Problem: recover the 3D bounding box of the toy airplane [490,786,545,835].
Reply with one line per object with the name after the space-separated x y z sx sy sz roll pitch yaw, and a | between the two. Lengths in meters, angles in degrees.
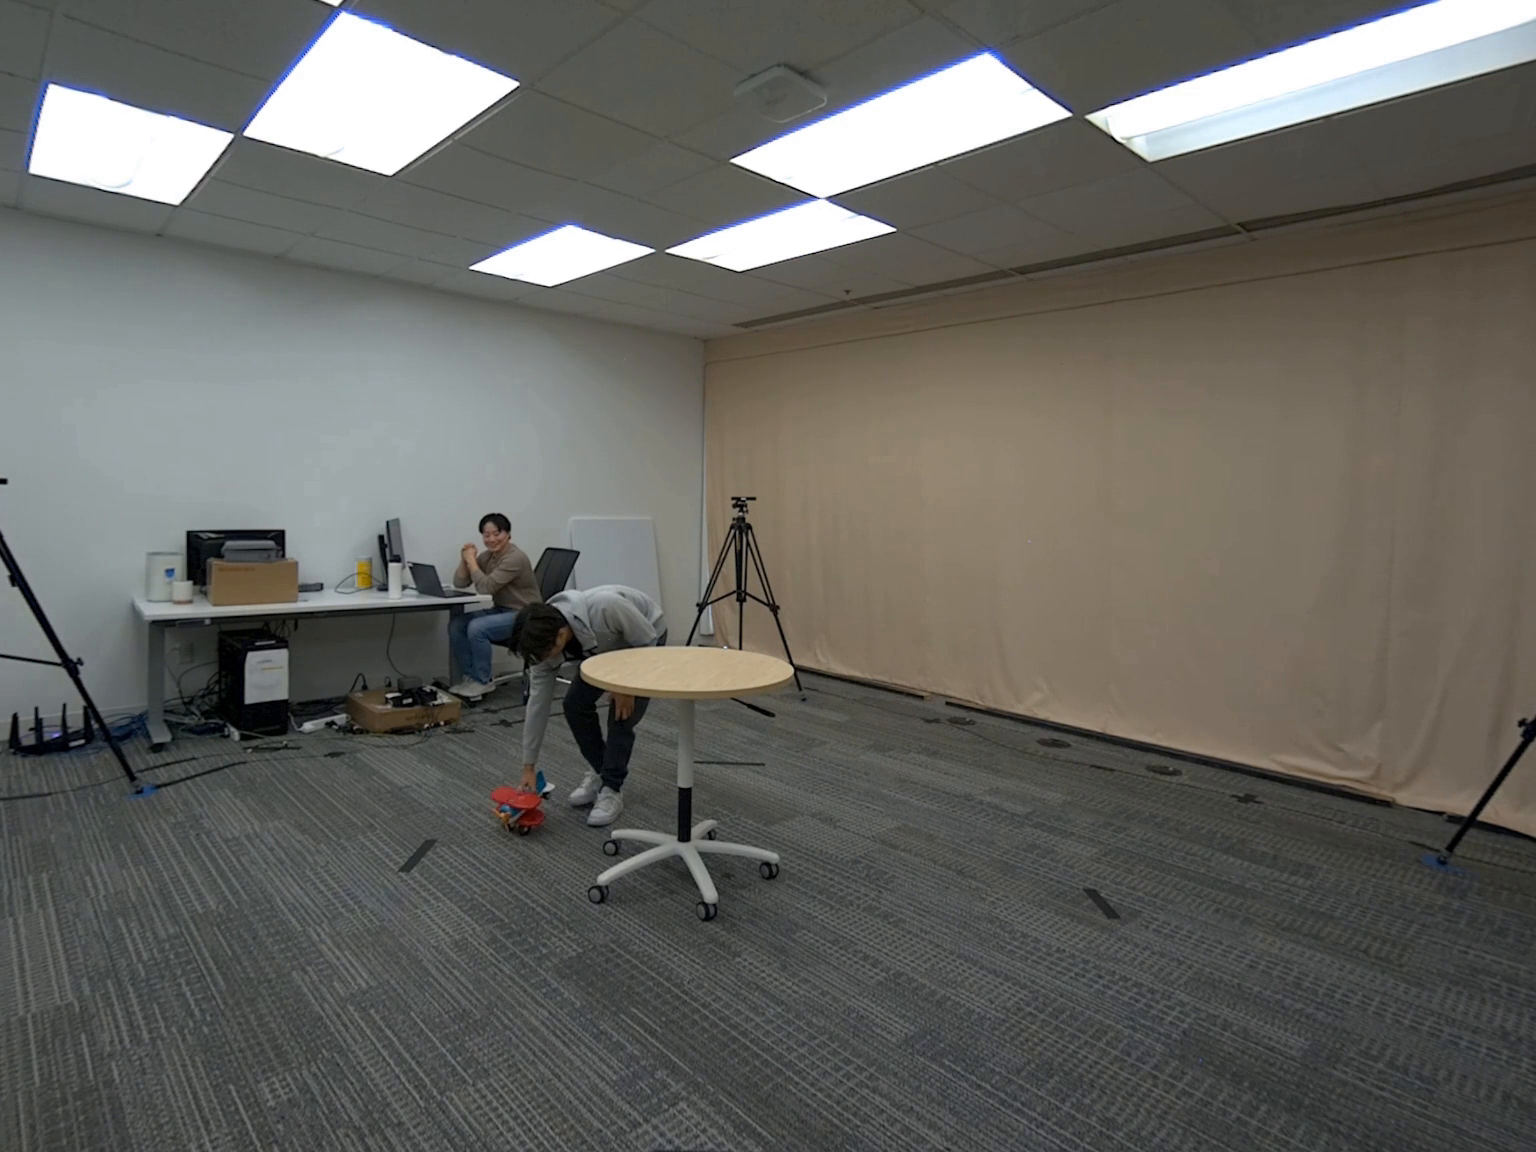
-1.030 0.942 3.501 0.252 0.152 0.265 -14 34 5 | toy airplane
